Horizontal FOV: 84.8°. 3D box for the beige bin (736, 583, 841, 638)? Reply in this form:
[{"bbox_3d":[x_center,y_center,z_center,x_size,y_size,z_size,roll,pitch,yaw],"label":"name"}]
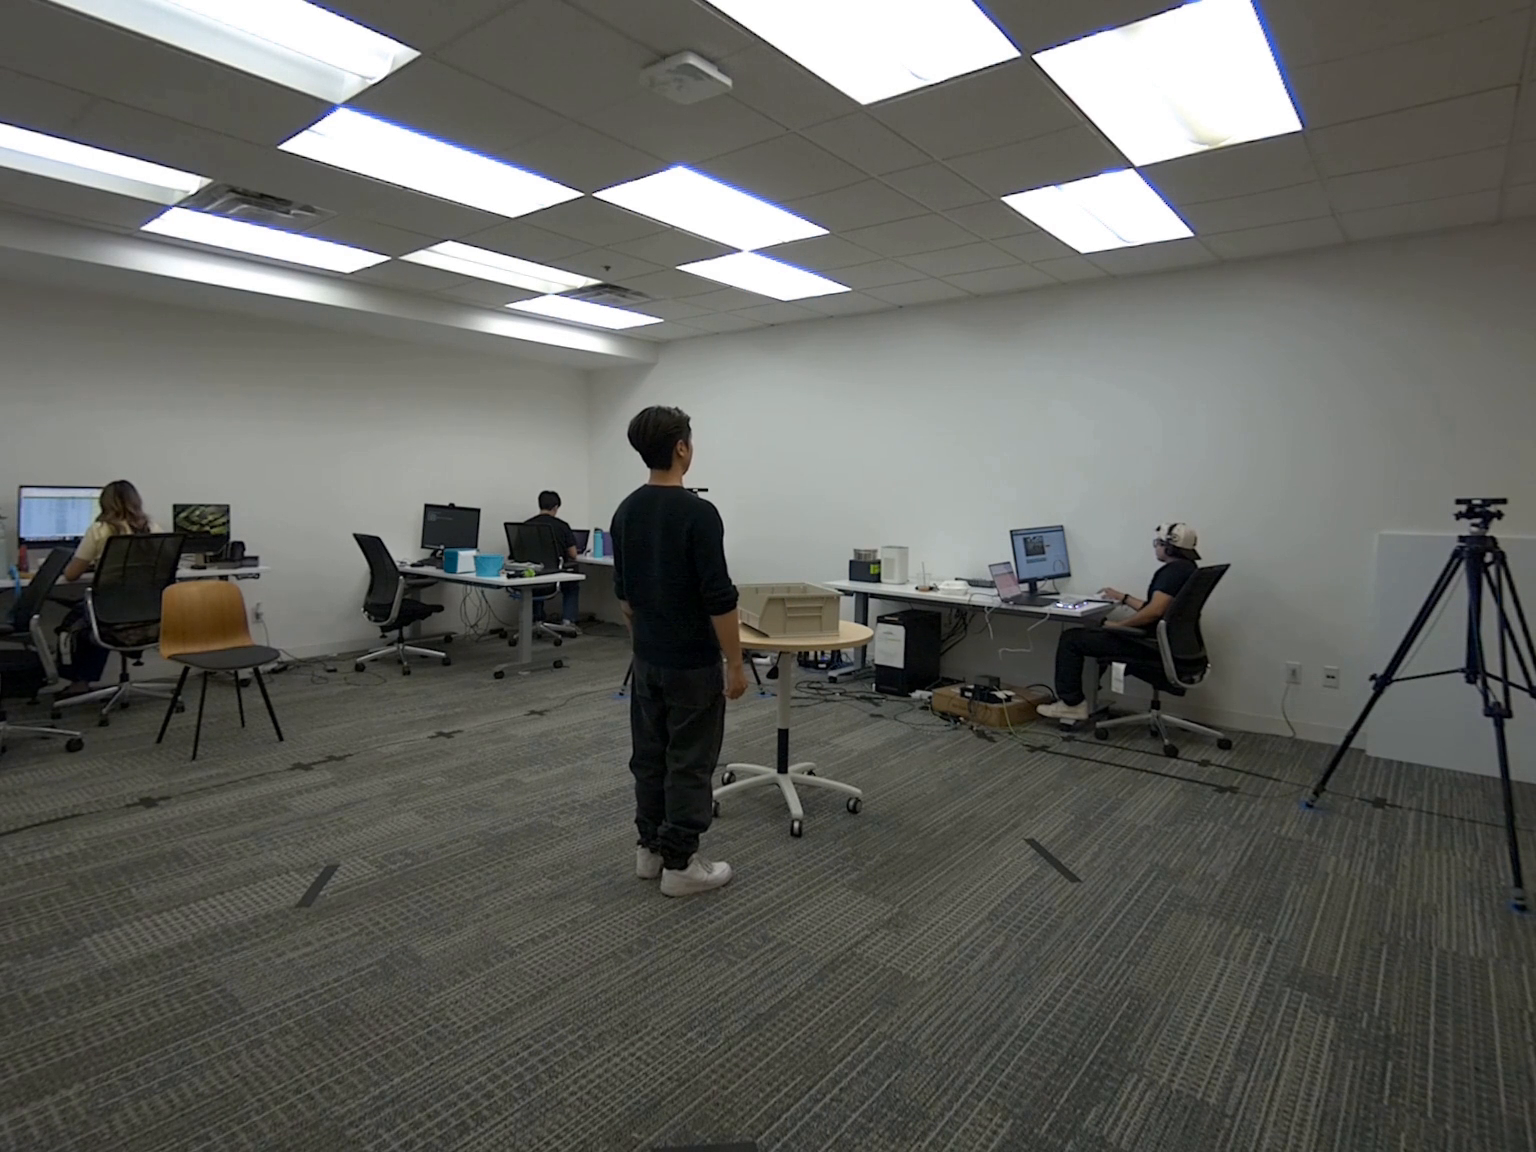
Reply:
[{"bbox_3d":[0.060,0.141,3.729,0.370,0.188,0.431,0,5,-18],"label":"beige bin"}]
